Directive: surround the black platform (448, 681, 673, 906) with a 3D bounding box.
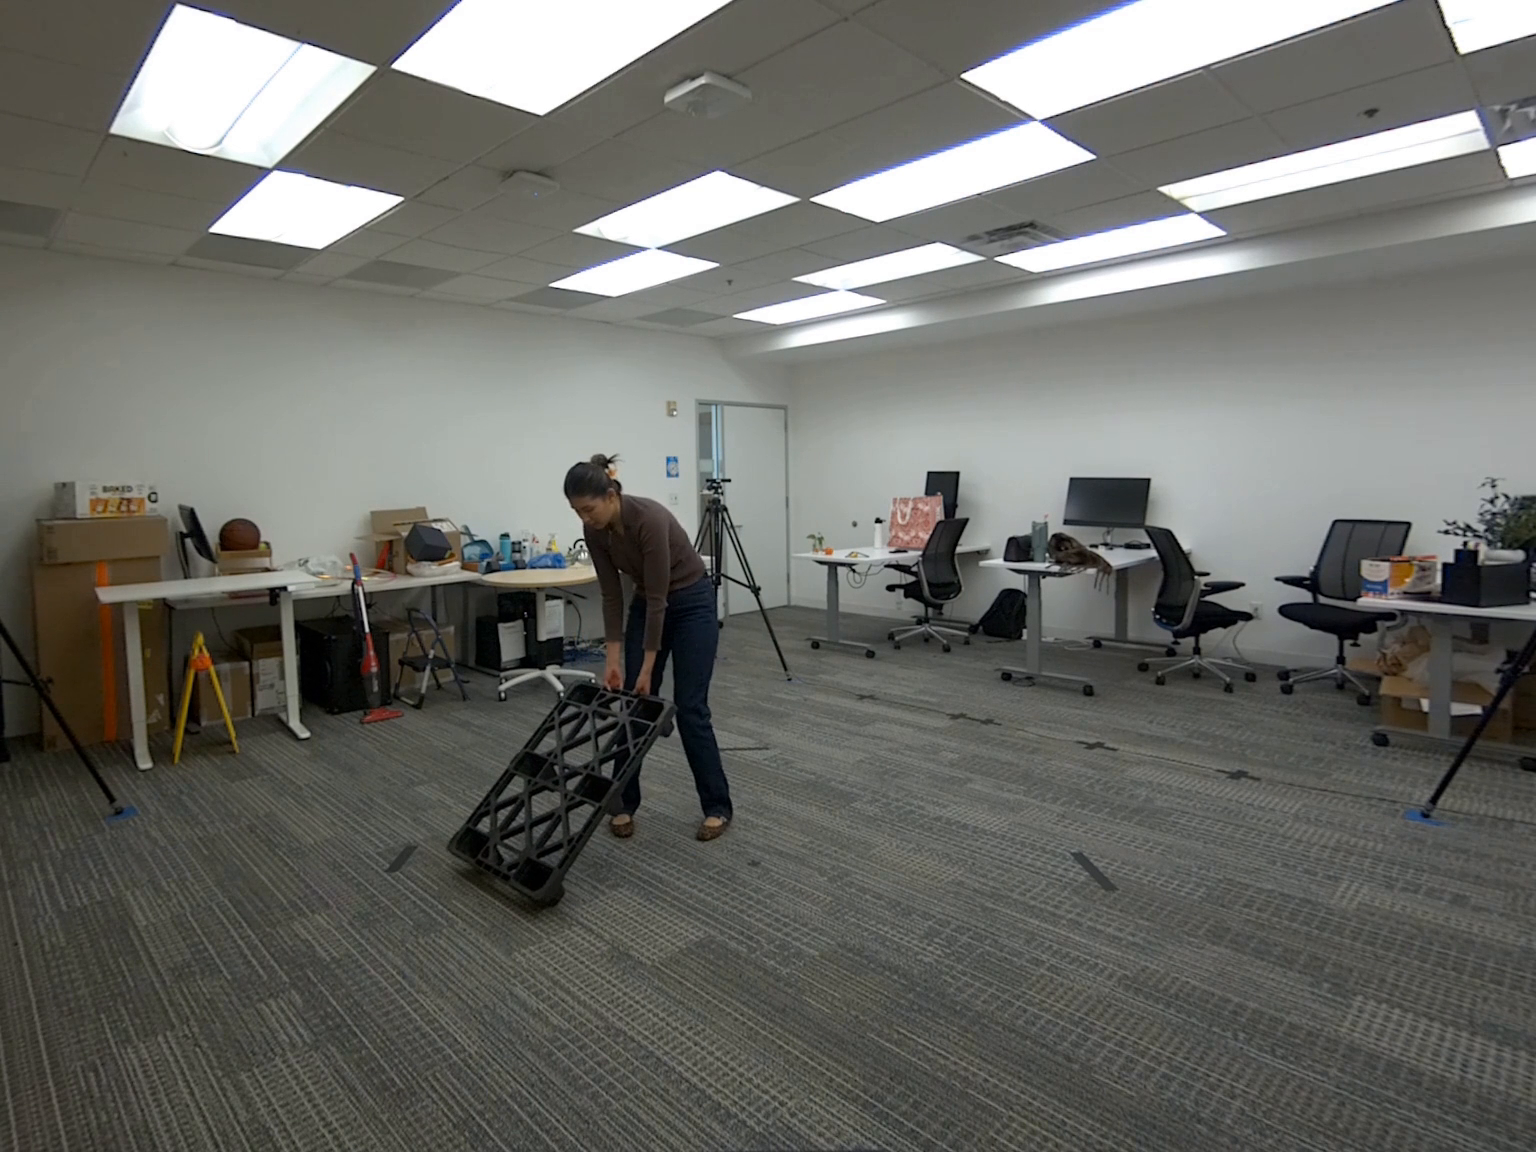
[{"bbox_3d":[-0.724,0.766,3.138,0.624,0.138,0.809,4,48,41],"label":"black platform"}]
